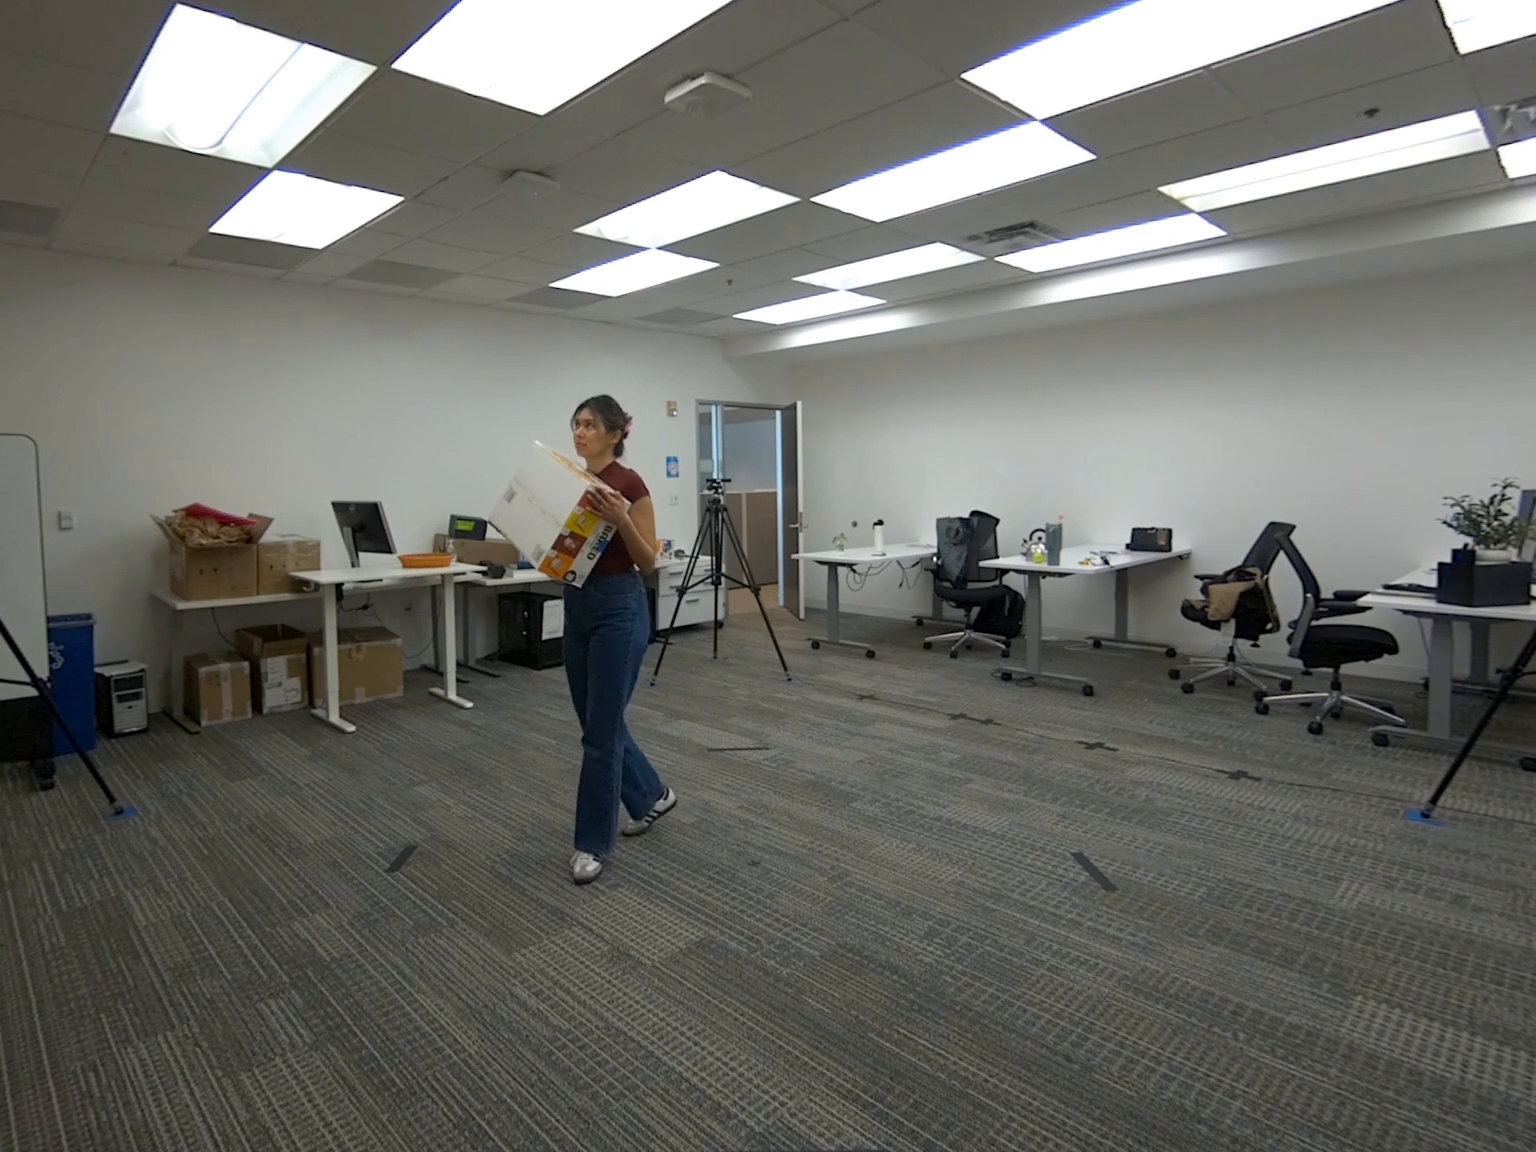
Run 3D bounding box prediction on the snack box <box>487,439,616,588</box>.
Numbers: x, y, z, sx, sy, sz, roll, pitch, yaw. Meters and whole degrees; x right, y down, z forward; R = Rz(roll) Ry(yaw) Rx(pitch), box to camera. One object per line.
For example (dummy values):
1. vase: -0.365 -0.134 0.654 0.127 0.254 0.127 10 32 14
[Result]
1. snack box: -0.728 -0.218 2.994 0.421 0.340 0.198 37 7 39
